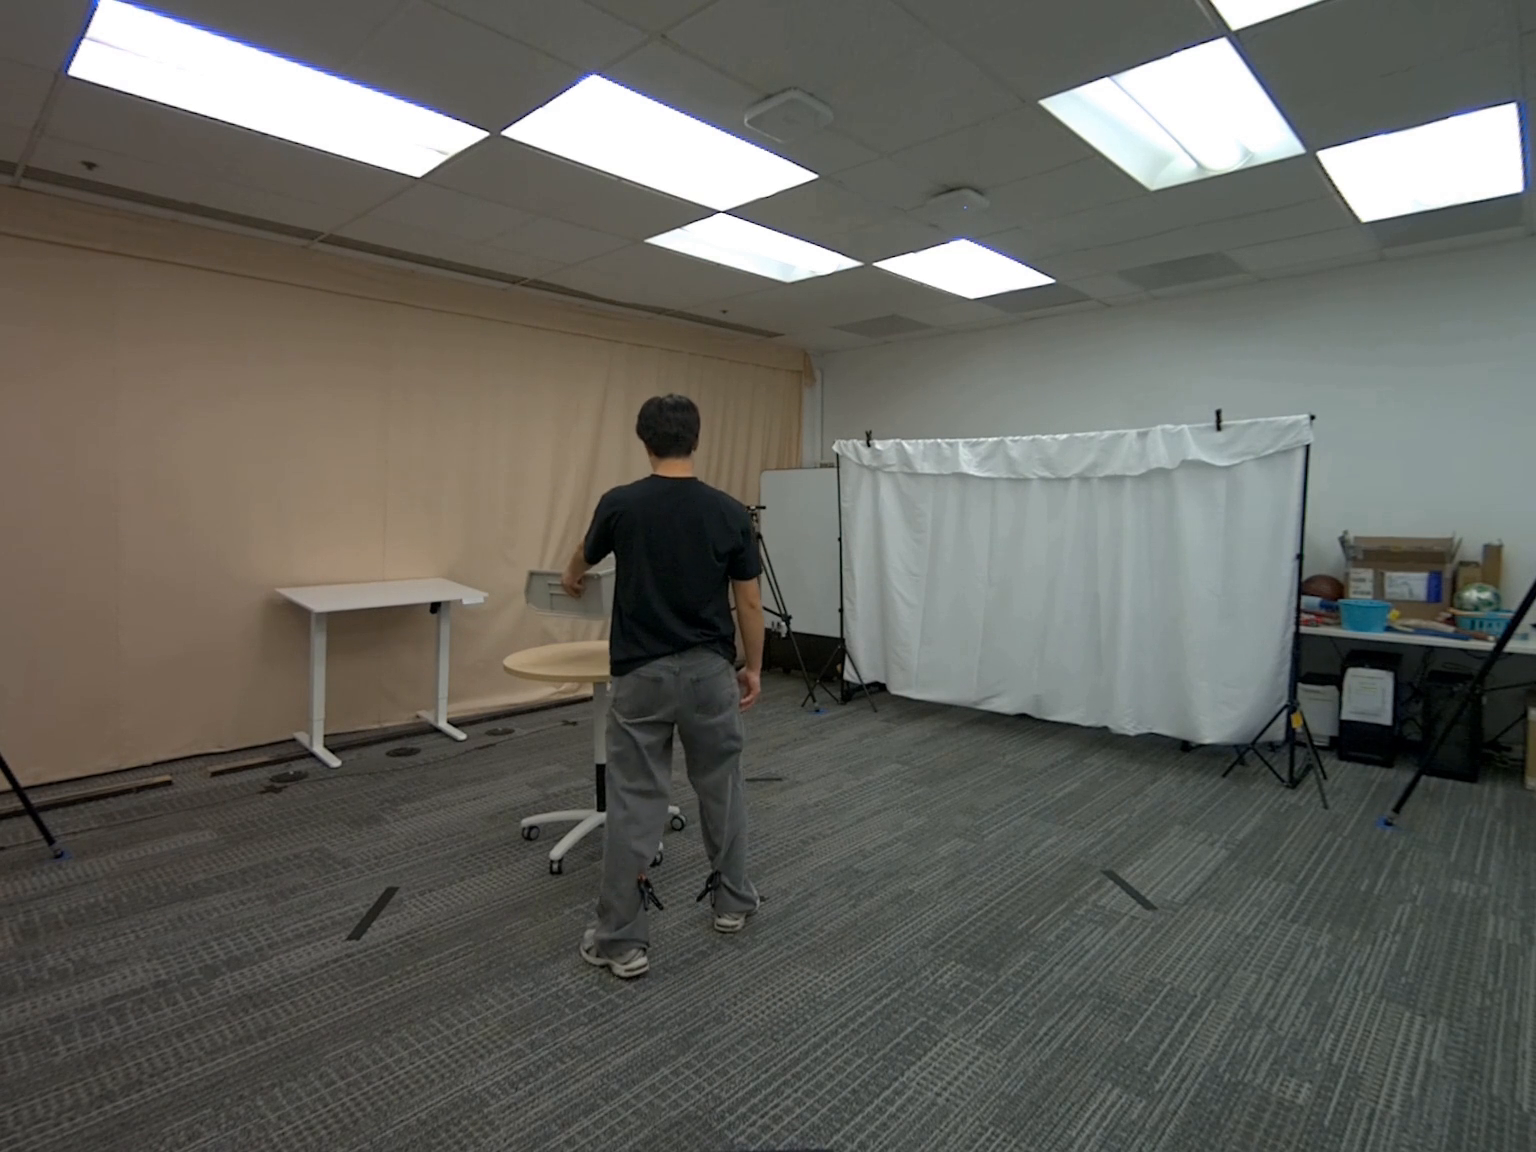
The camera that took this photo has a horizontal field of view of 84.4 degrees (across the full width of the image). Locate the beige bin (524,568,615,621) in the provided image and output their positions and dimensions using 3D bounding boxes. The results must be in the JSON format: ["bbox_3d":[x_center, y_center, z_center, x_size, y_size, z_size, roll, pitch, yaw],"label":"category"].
[{"bbox_3d":[-0.695,0.032,3.343,0.387,0.188,0.414,4,11,25],"label":"beige bin"}]
